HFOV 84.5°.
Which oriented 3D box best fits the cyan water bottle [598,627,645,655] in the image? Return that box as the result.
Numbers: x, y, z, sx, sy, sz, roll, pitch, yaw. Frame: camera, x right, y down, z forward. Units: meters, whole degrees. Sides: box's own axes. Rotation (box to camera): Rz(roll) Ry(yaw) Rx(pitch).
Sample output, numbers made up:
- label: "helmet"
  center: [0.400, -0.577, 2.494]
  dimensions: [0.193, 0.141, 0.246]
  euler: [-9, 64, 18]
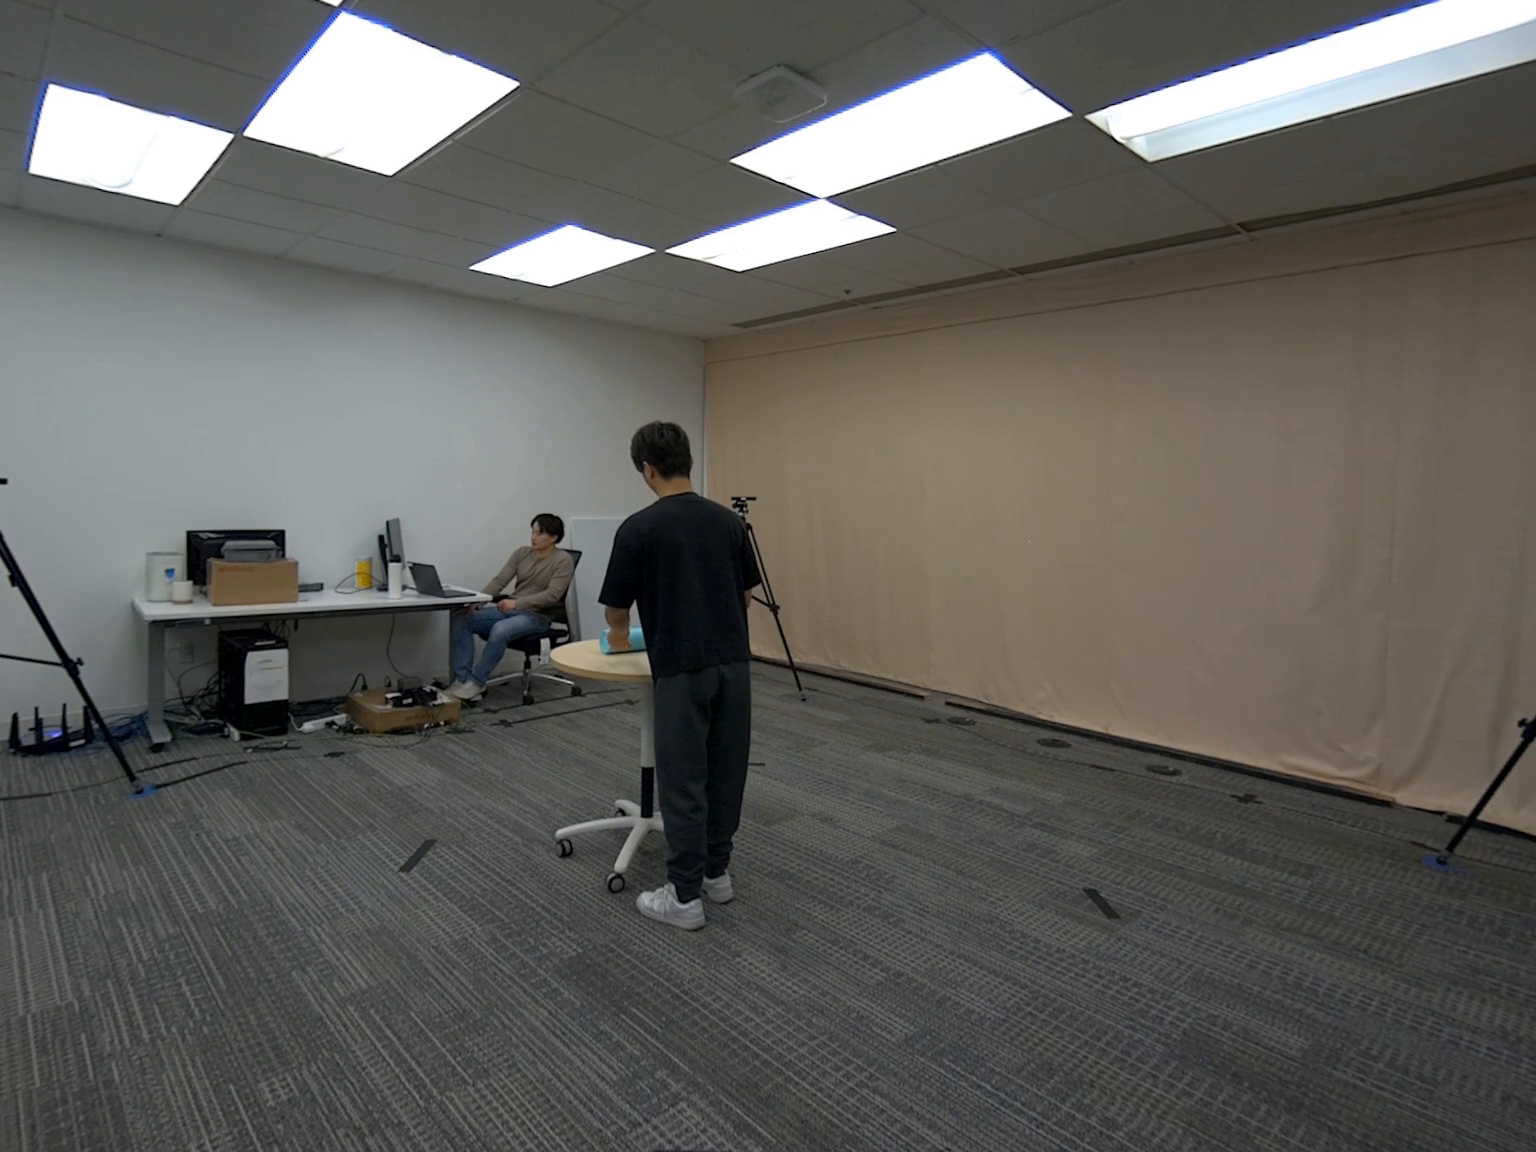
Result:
- label: "cyan water bottle"
  center: [-0.526, 0.252, 3.317]
  dimensions: [0.277, 0.092, 0.095]
  euler: [-3, 6, -39]
